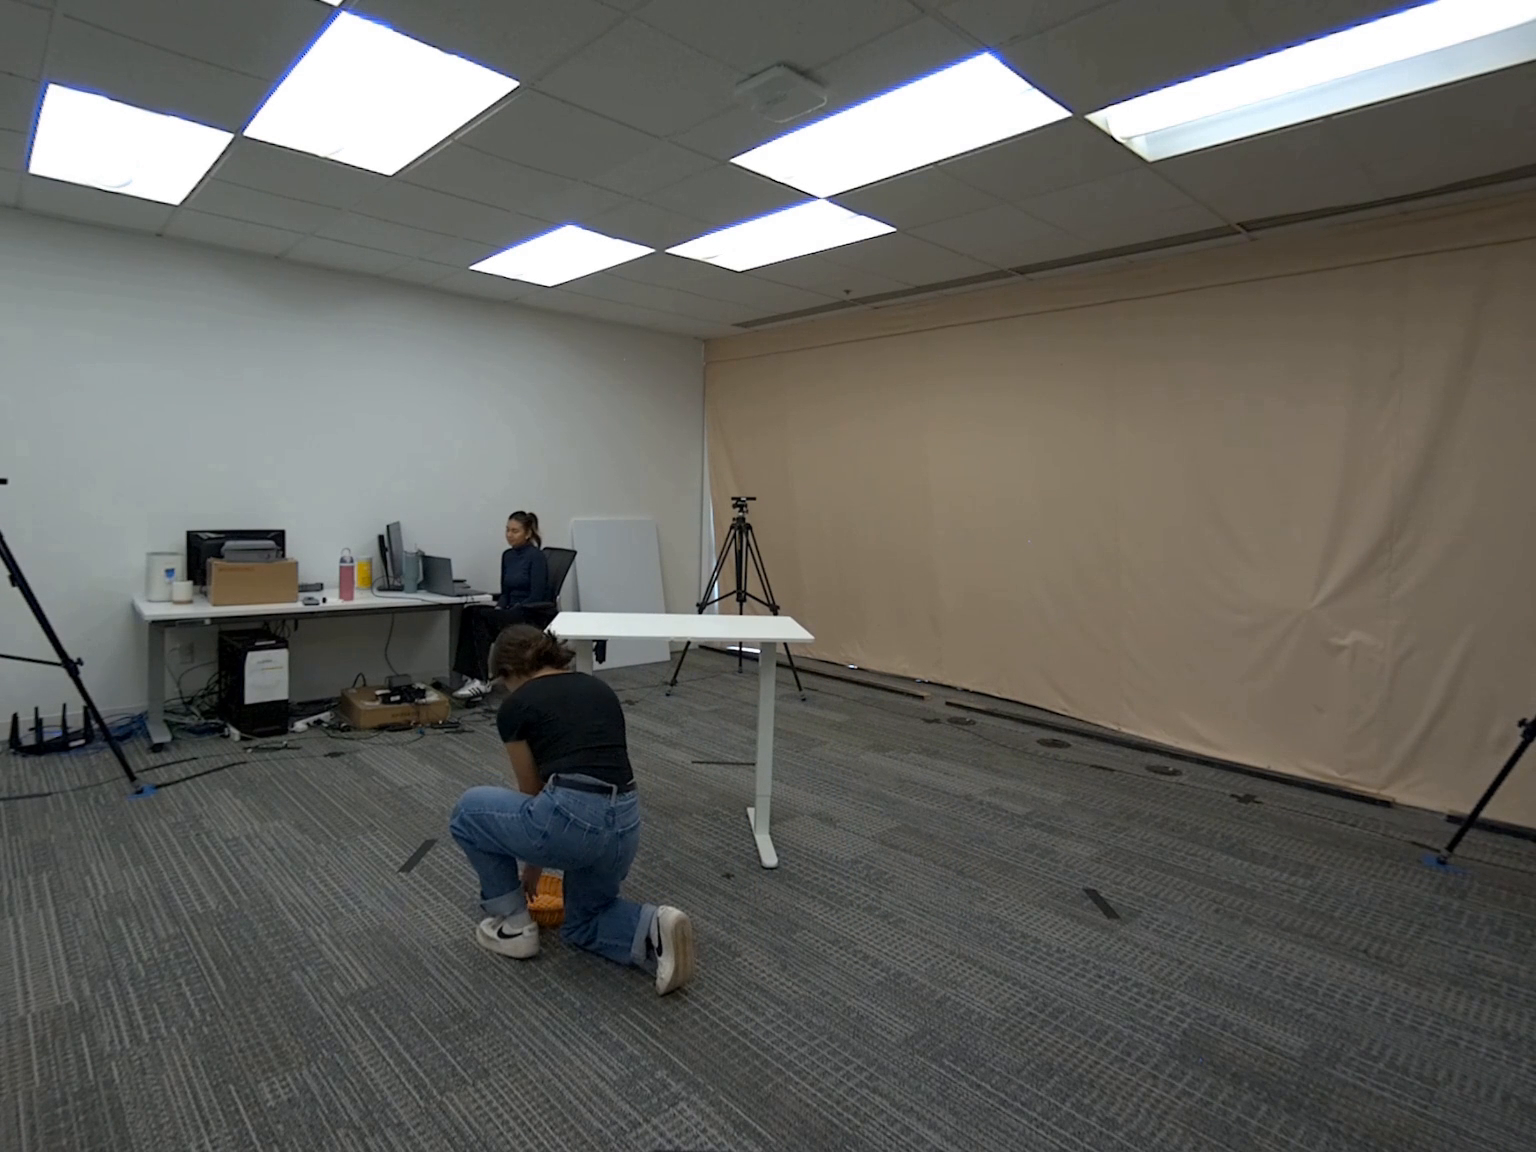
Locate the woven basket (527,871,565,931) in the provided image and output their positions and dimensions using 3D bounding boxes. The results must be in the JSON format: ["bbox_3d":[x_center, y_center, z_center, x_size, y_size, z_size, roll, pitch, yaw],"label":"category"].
[{"bbox_3d":[-0.772,1.078,2.807,0.355,0.073,0.250,3,5,16],"label":"woven basket"}]
